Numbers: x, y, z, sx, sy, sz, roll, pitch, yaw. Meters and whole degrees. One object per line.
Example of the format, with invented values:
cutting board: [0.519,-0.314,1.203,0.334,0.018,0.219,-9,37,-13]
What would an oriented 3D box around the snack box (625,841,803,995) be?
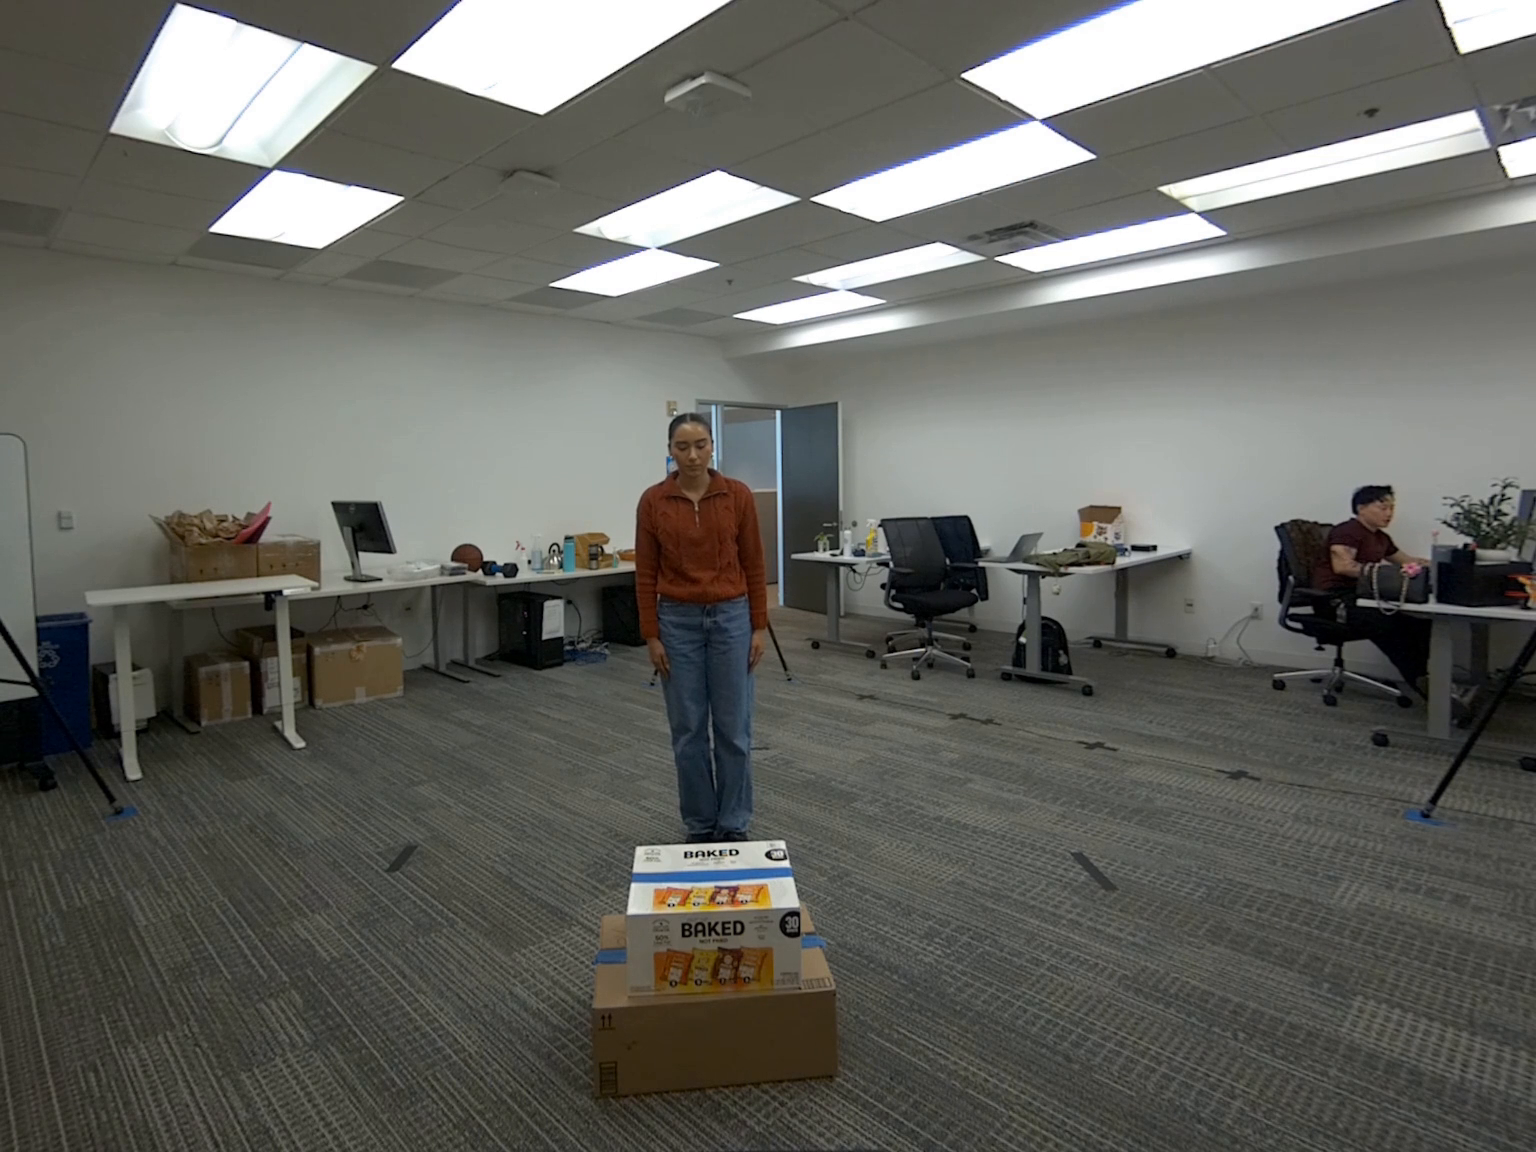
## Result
snack box: [-0.139,0.847,2.129,0.404,0.204,0.343,-2,8,-3]
